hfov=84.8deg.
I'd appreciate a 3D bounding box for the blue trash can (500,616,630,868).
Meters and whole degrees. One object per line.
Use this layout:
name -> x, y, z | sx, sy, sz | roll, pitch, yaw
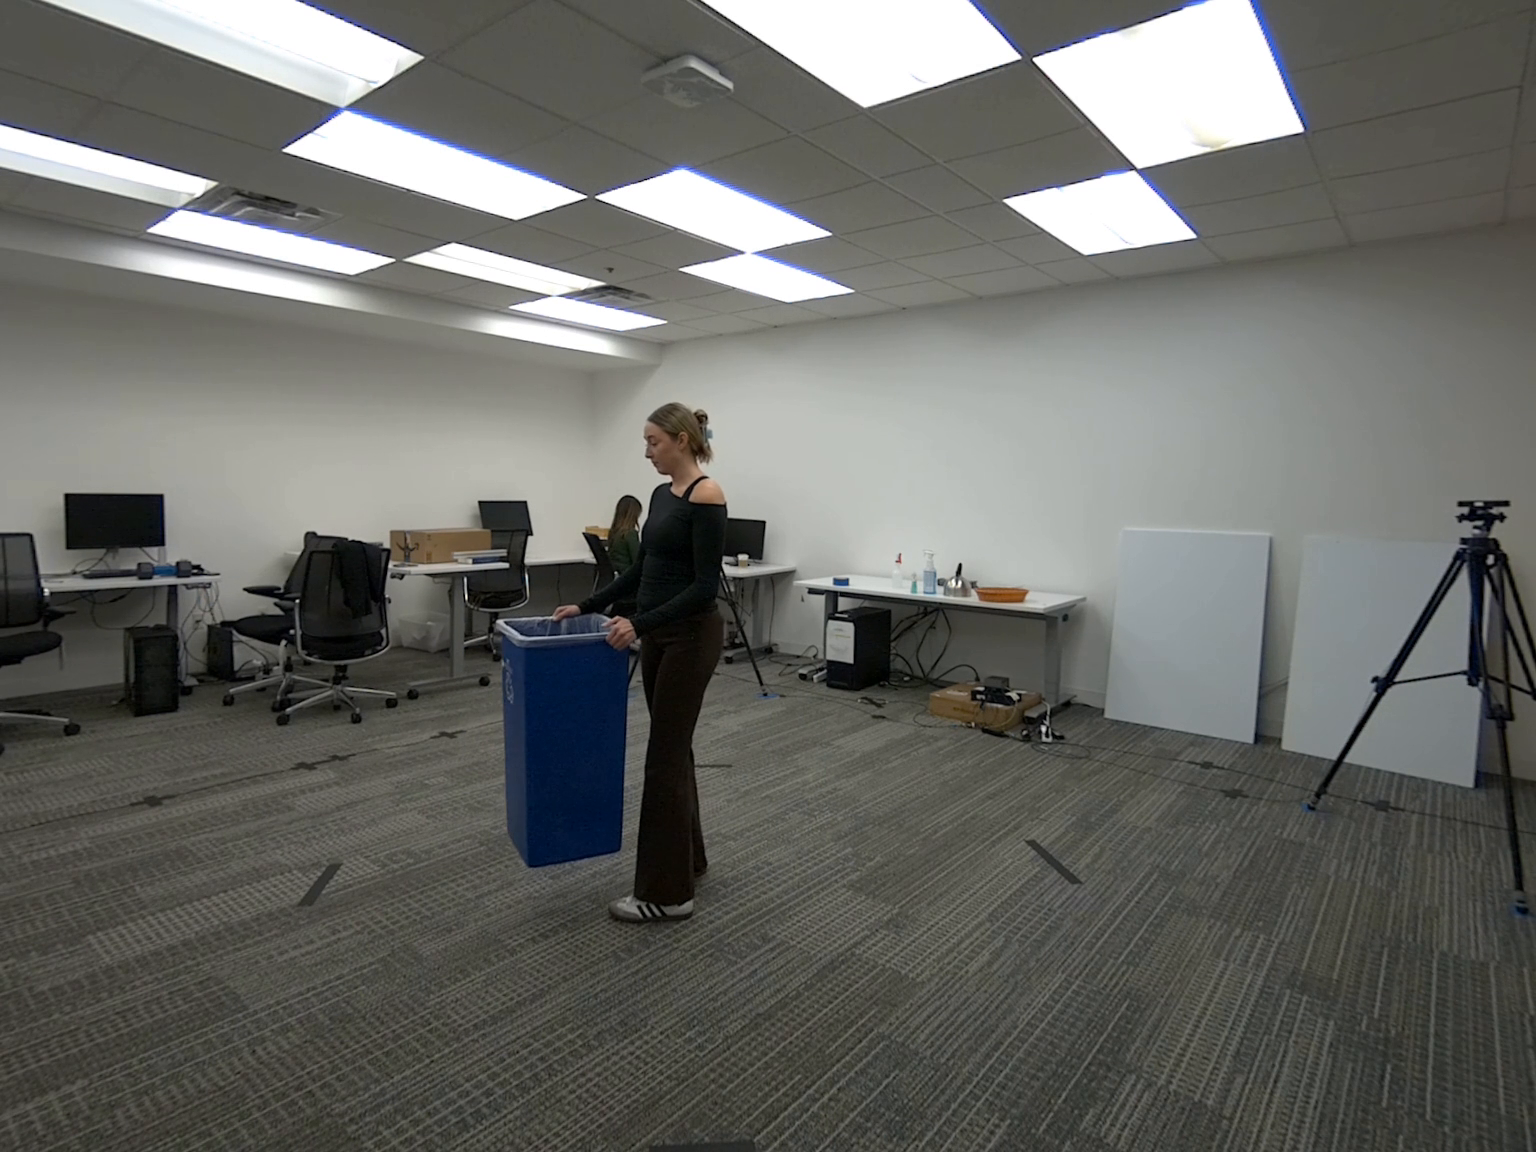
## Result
blue trash can -> -0.676, 0.514, 2.736 | 0.369, 0.711, 0.385 | -2, 4, -28
